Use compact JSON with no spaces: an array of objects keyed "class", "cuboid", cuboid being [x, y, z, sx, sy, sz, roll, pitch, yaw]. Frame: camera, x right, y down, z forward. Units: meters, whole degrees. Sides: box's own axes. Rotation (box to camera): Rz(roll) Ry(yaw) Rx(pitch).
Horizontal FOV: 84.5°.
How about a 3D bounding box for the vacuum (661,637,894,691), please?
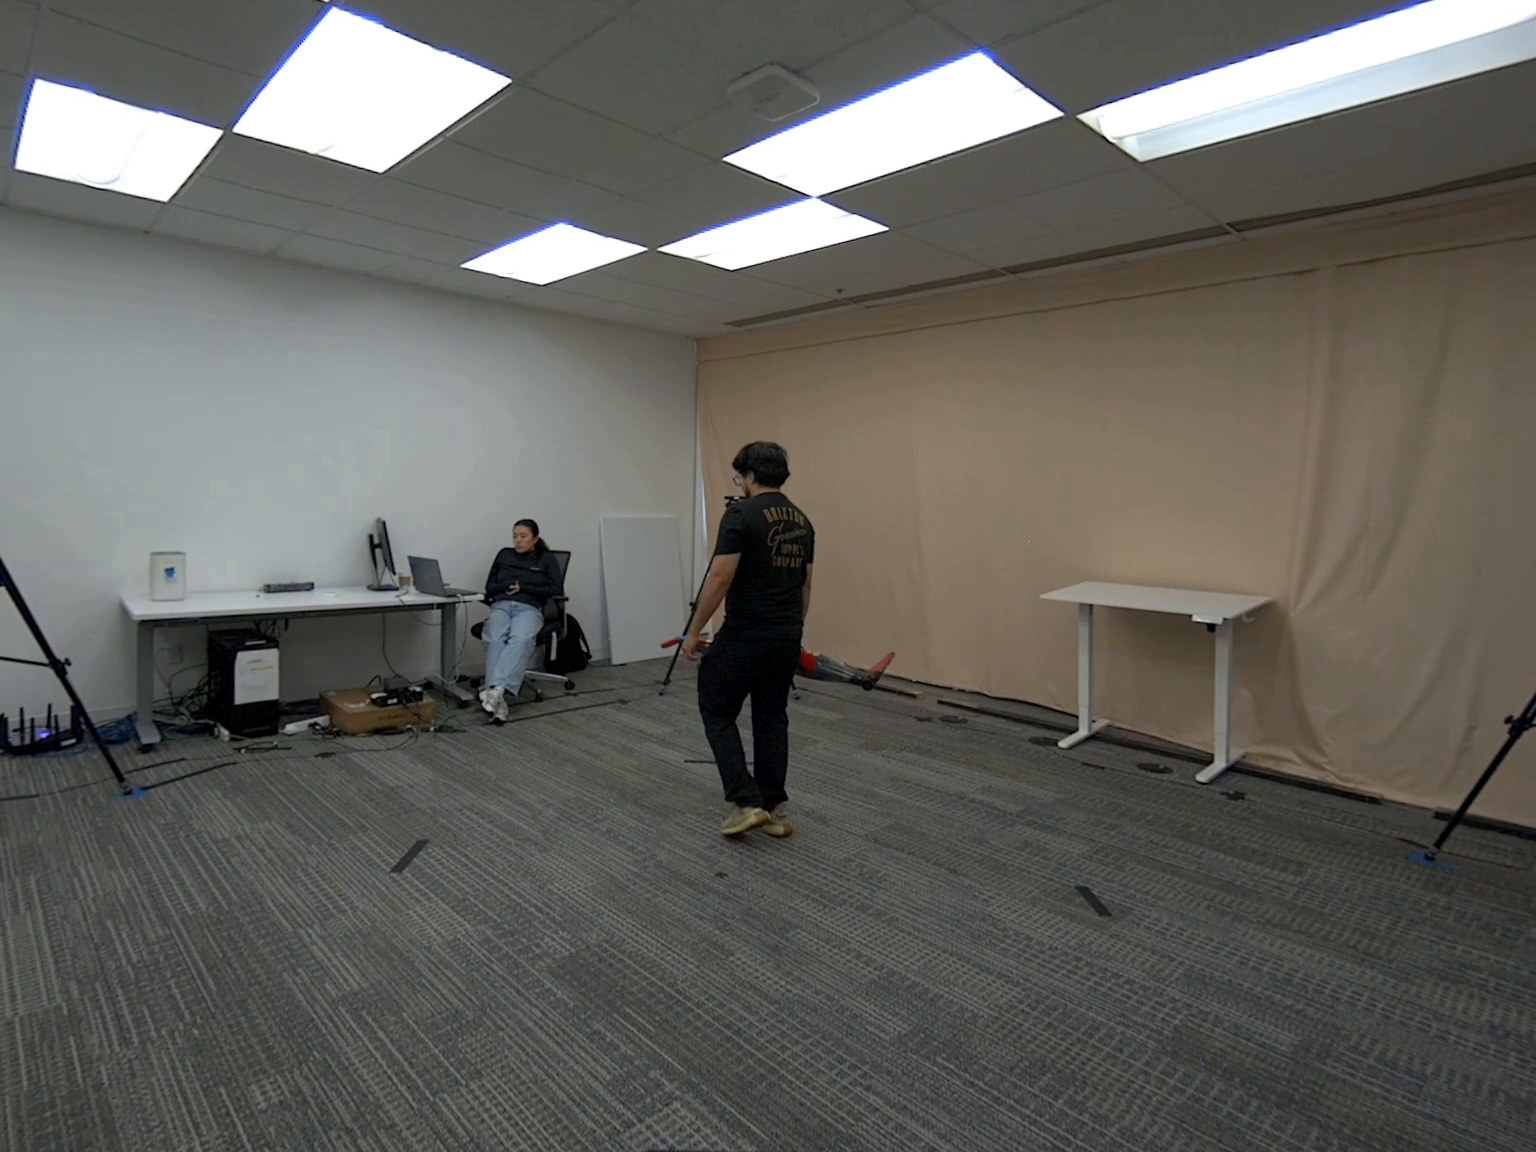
[{"class":"vacuum","cuboid":[-0.021,0.386,3.807,1.067,0.143,0.250,4,9,21]}]
